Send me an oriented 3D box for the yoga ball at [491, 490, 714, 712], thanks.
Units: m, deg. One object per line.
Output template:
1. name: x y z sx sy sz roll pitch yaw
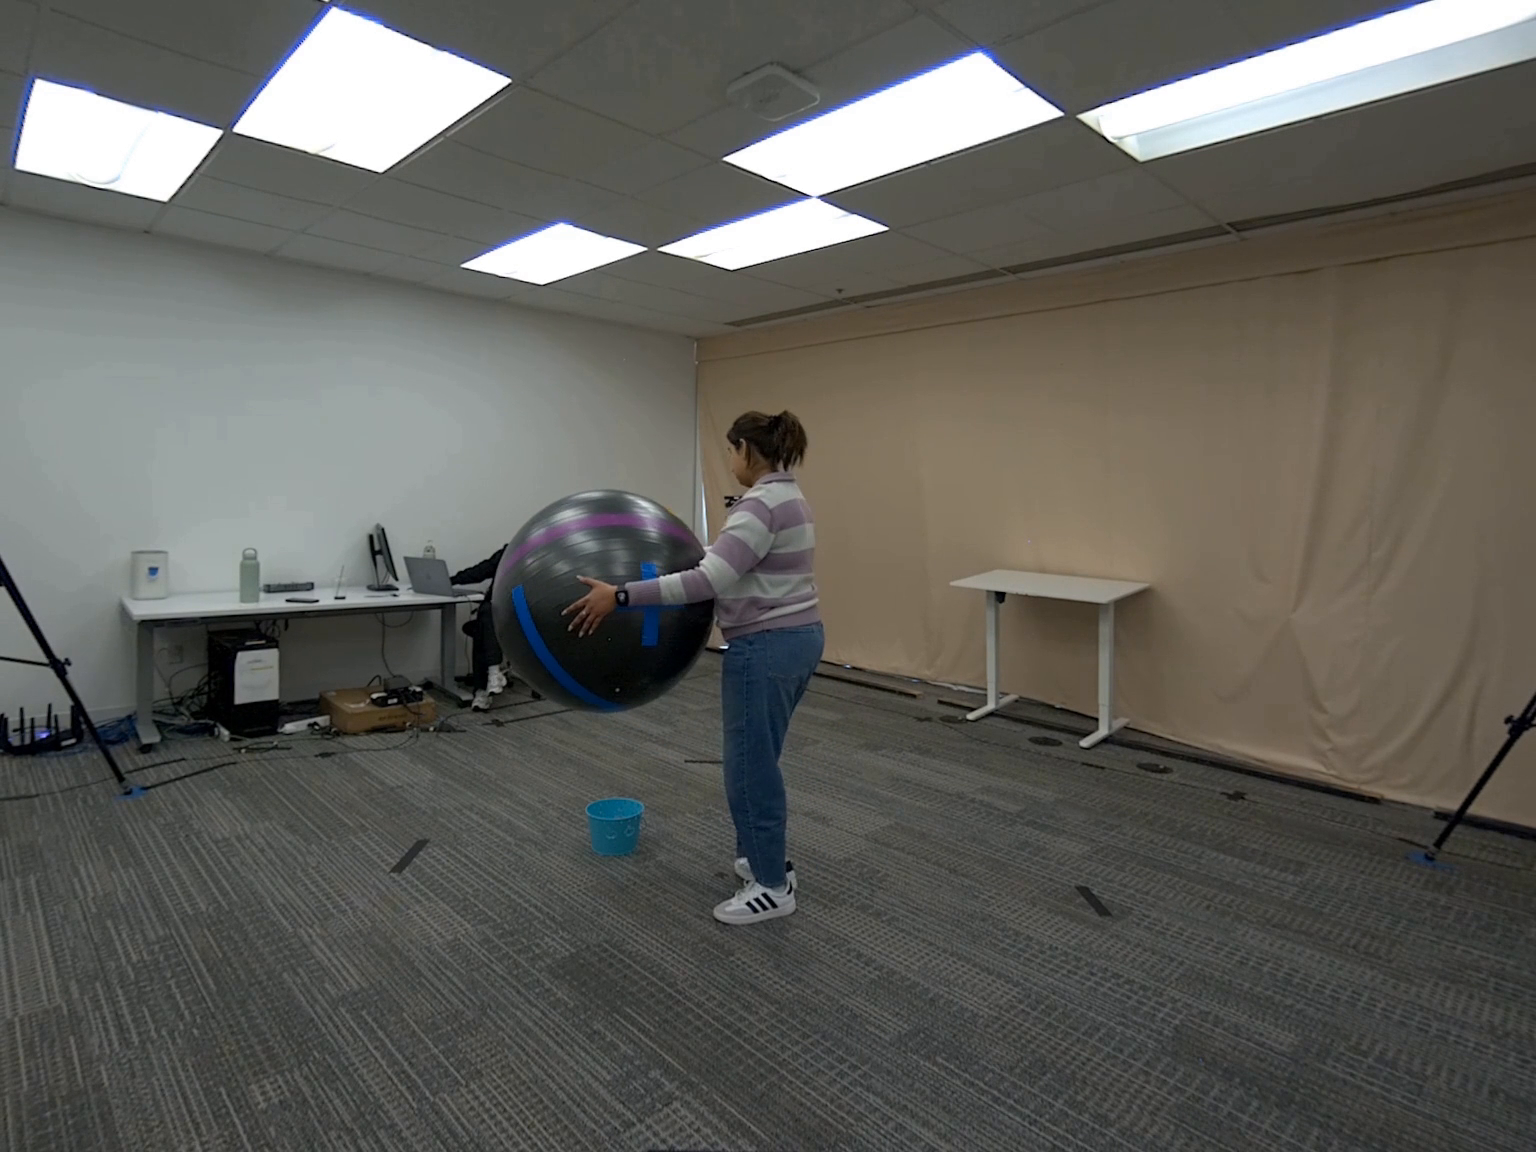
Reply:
1. yoga ball: -0.559 0.092 2.892 0.757 0.756 0.761 1 4 -1
